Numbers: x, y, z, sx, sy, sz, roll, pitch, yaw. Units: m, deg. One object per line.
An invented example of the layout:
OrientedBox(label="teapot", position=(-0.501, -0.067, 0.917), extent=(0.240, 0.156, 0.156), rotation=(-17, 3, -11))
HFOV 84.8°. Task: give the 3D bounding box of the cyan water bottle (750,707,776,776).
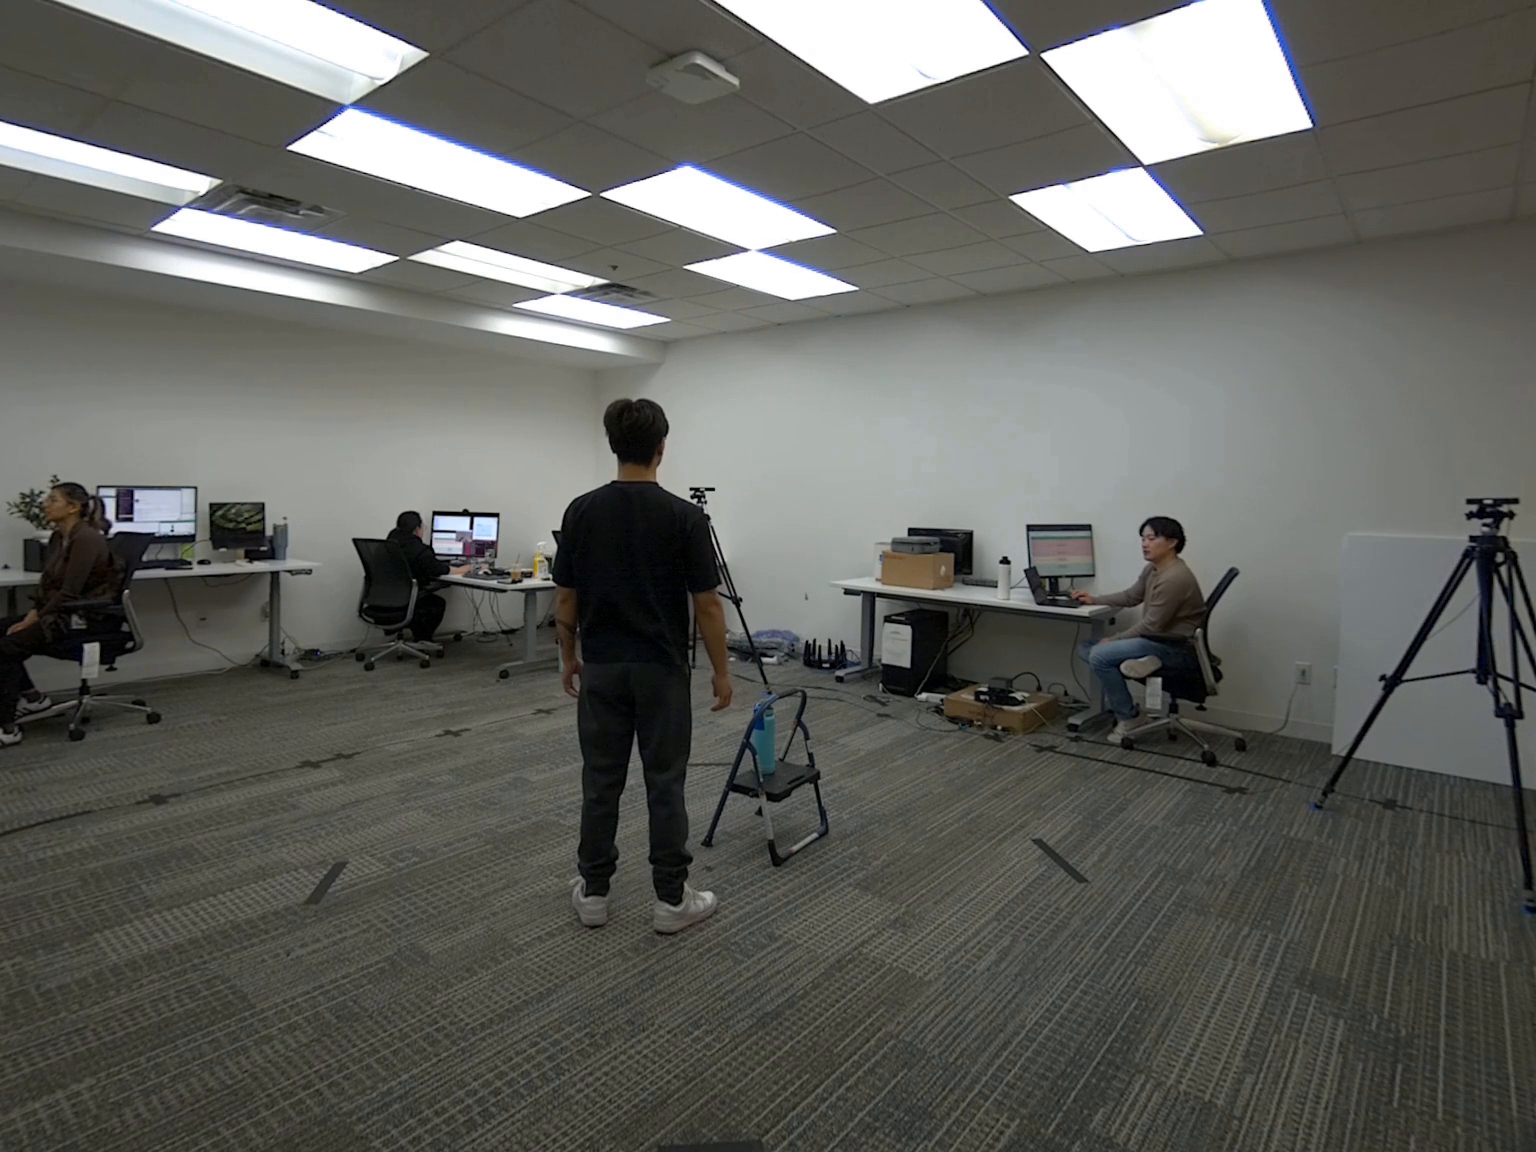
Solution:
OrientedBox(label="cyan water bottle", position=(-0.021, 0.642, 3.416), extent=(0.092, 0.283, 0.092), rotation=(2, 1, -2))
